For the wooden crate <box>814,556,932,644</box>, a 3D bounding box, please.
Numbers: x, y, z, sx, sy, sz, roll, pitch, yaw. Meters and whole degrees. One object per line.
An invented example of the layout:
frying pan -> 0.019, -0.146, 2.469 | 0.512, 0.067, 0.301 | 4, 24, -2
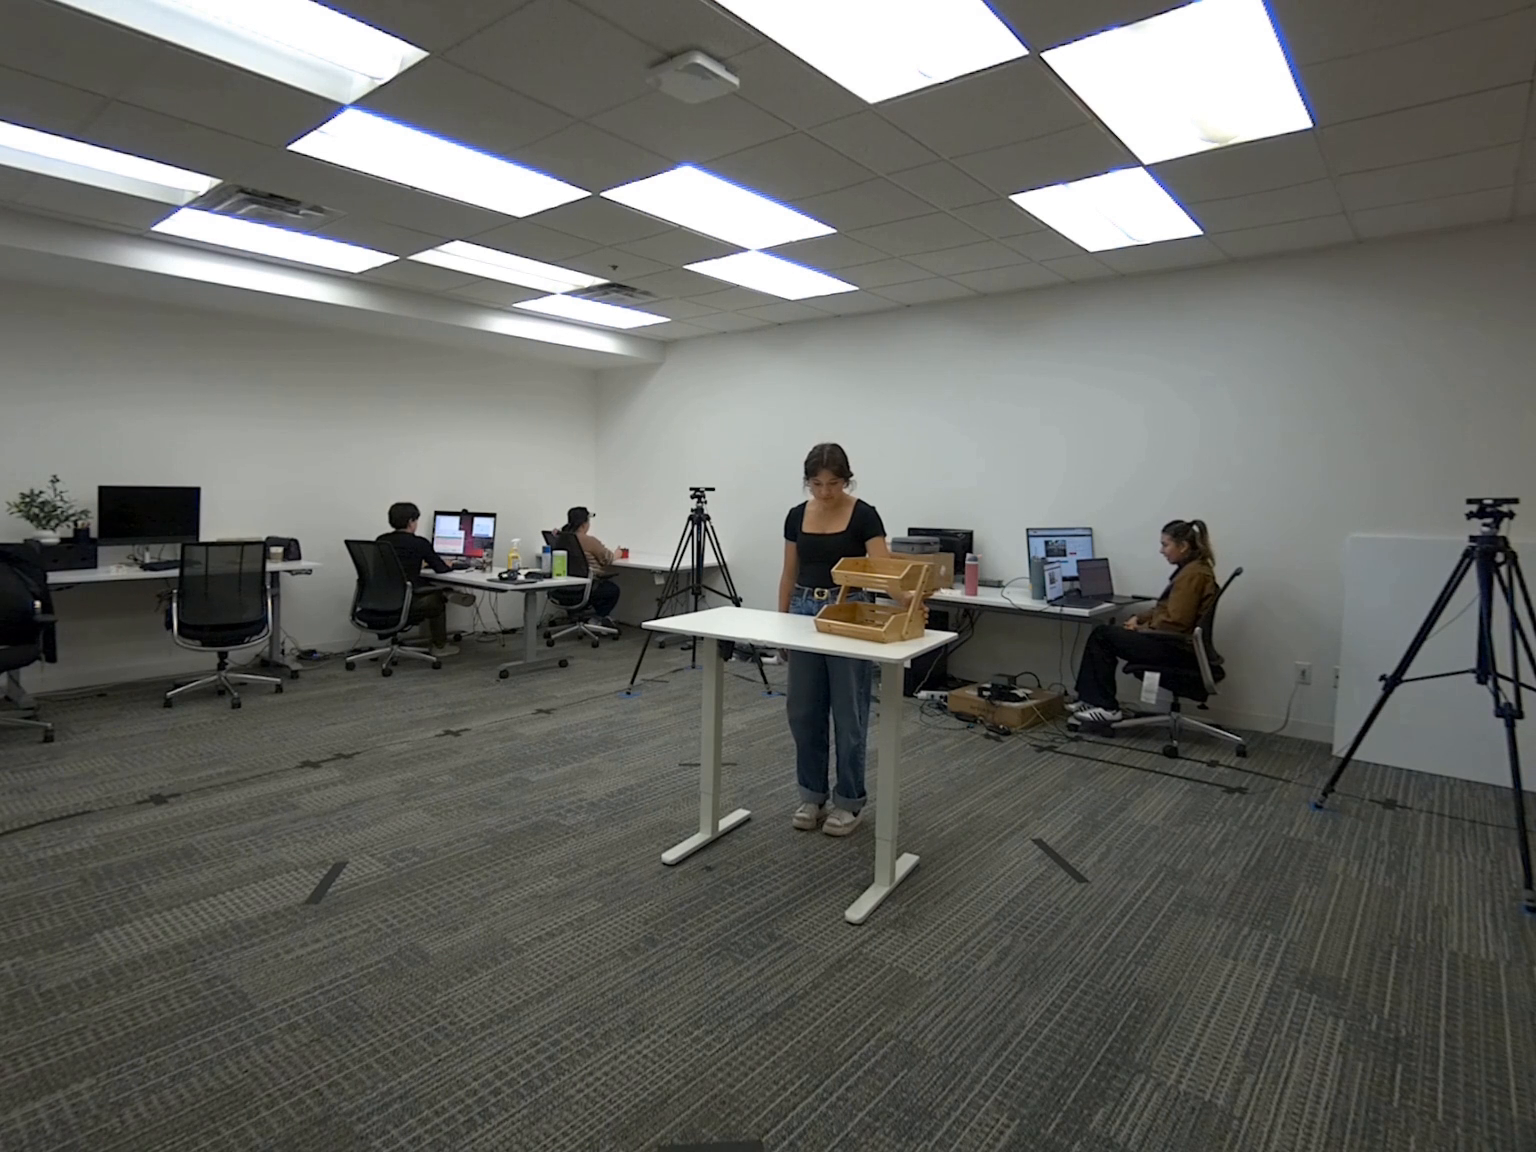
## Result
wooden crate -> 0.370, 0.069, 3.045 | 0.336, 0.272, 0.293 | 6, 6, 43
